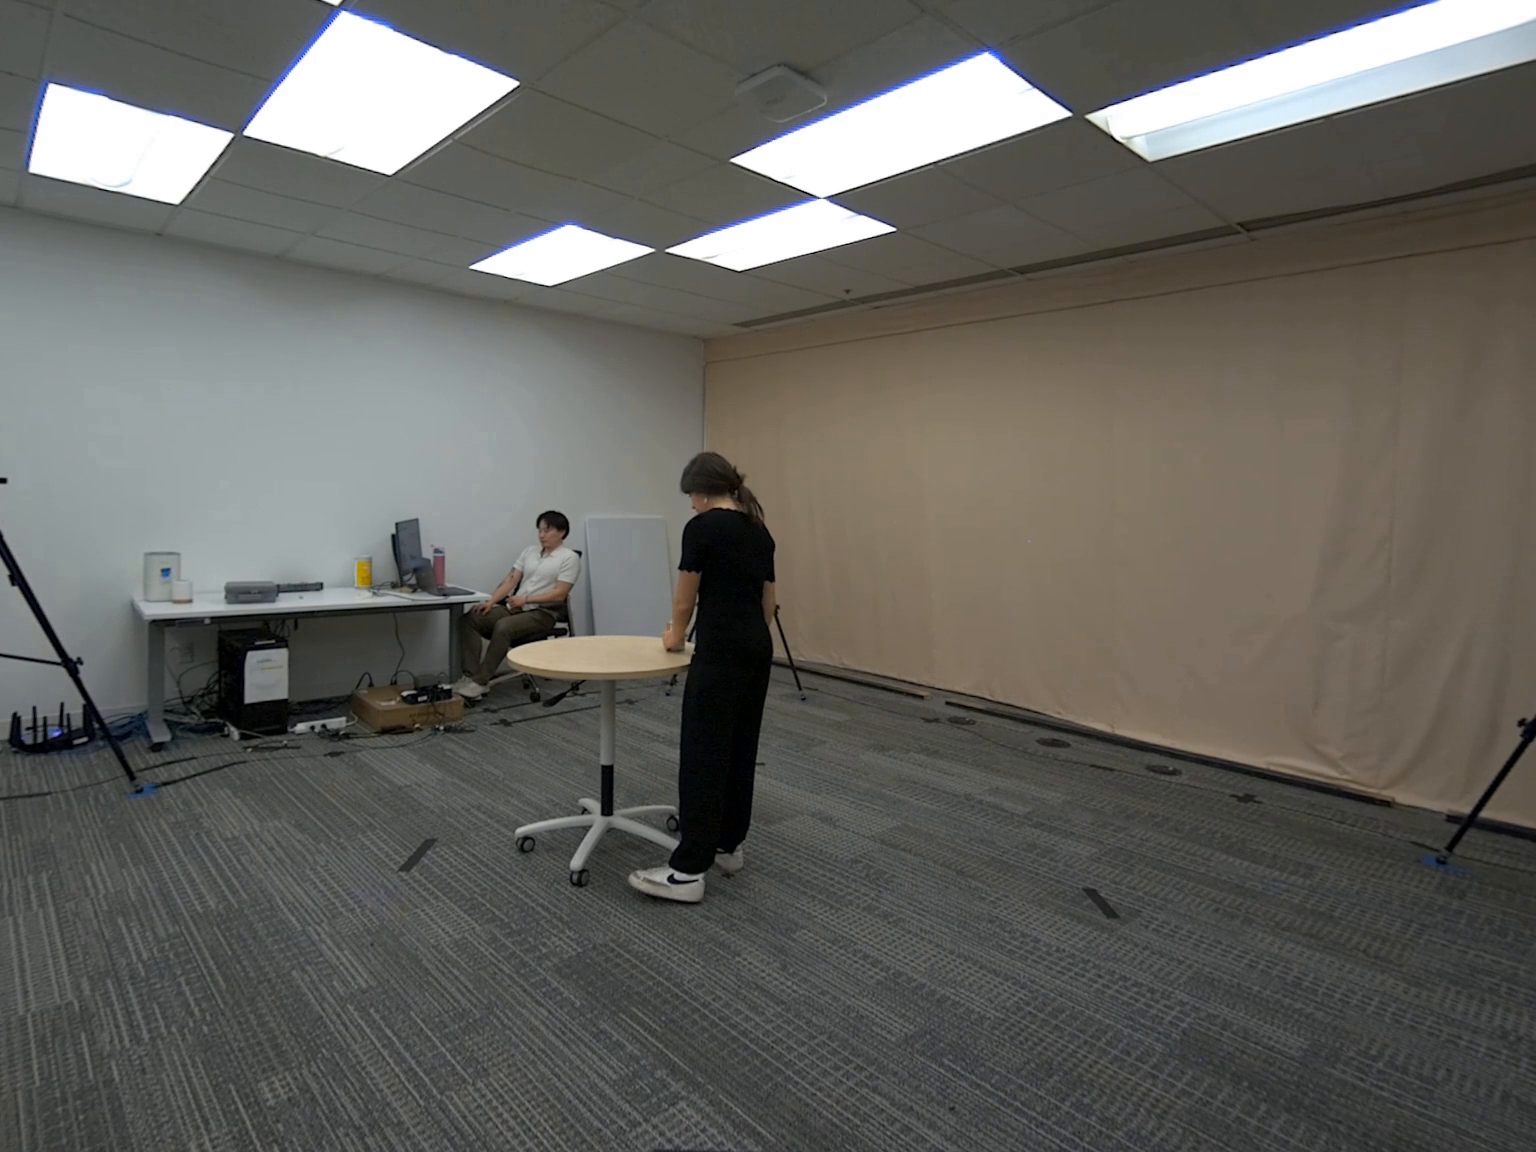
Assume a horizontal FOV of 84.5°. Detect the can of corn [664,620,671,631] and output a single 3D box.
[{"bbox_3d":[-0.360,0.238,3.341,0.074,0.111,0.074,0,4,-1],"label":"can of corn"}]
